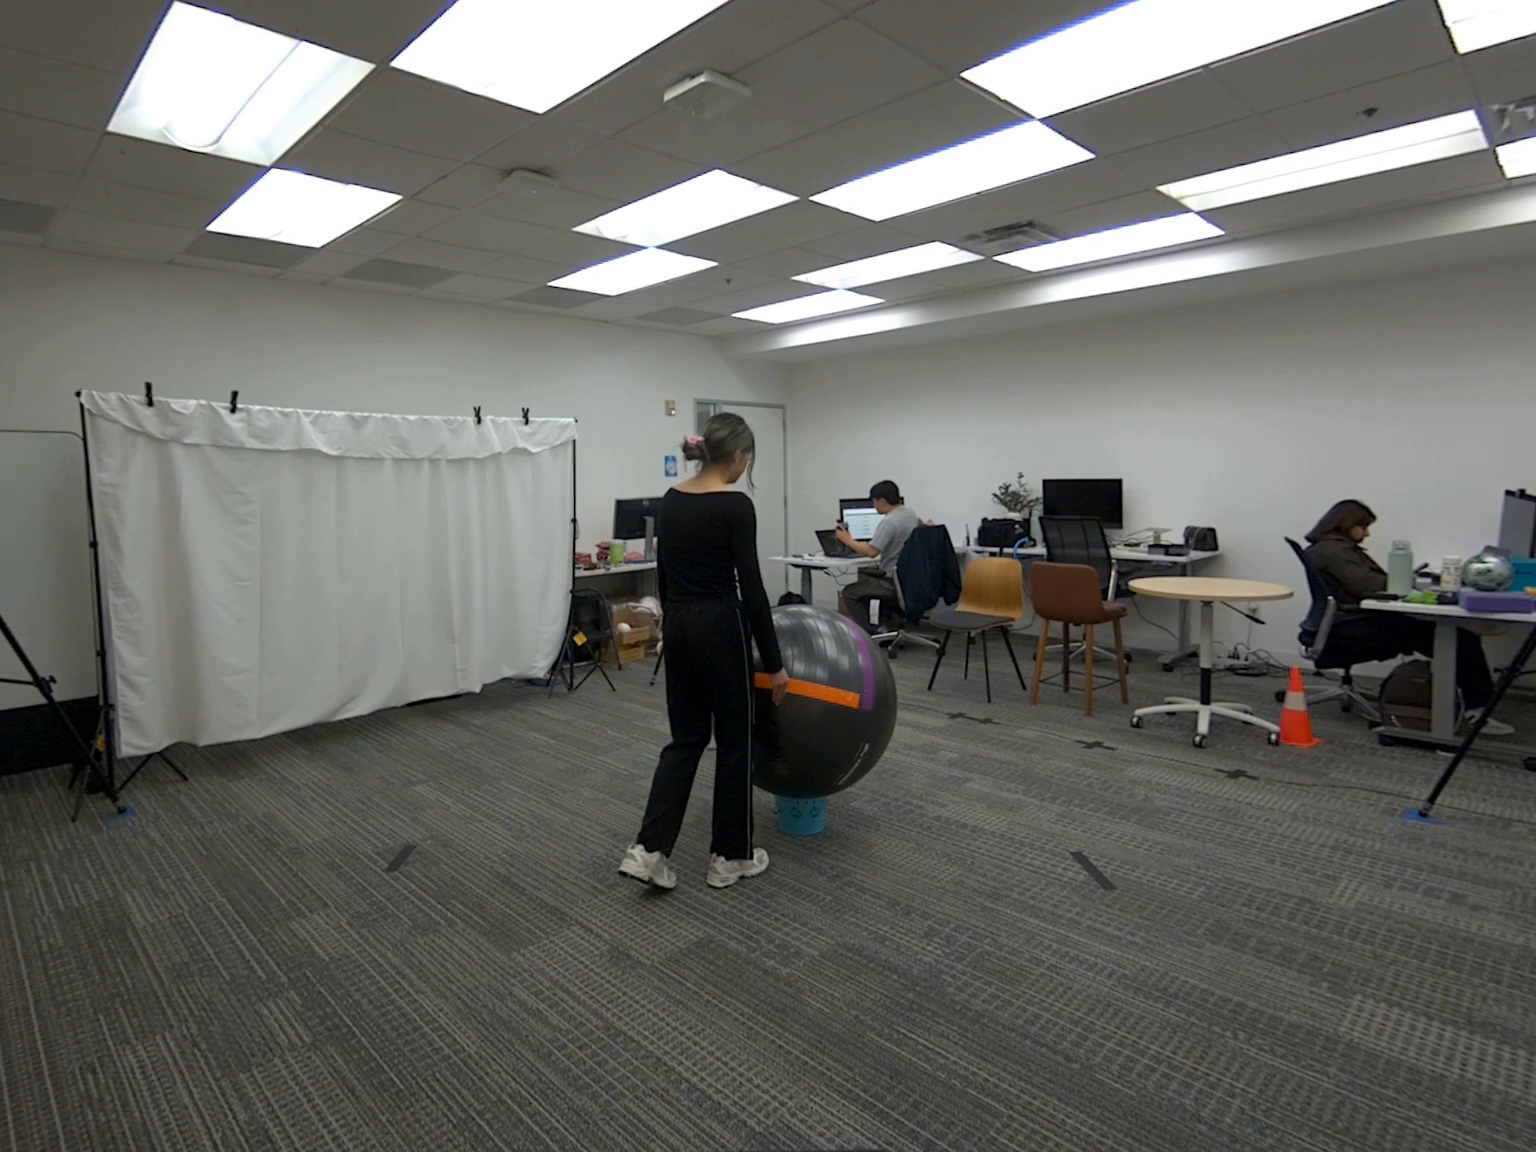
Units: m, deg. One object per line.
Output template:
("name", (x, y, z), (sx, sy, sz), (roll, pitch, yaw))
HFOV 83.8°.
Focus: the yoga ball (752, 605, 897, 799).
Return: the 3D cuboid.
("yoga ball", (0.127, 0.492, 3.410), (0.757, 0.755, 0.762), (-1, 5, -2))
